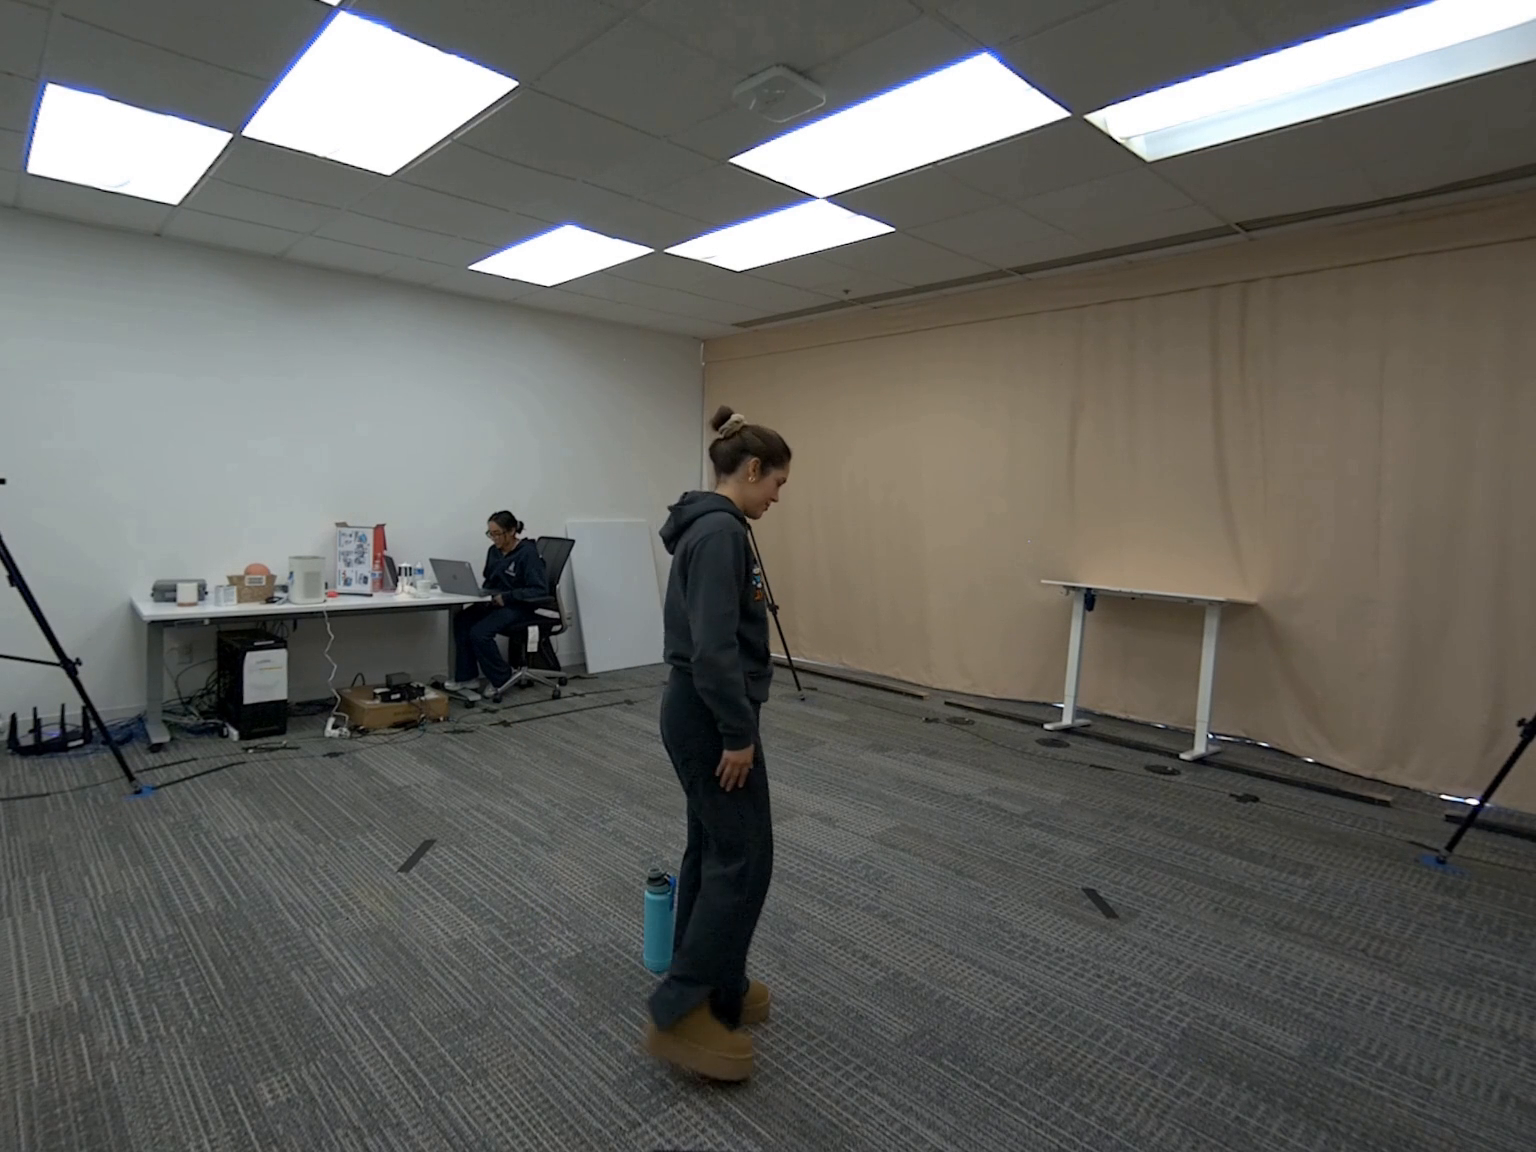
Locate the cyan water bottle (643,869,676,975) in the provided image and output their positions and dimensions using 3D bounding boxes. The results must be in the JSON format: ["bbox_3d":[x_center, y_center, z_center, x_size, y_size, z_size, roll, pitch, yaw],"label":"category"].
[{"bbox_3d":[-0.322,1.021,2.505,0.092,0.283,0.092,4,3,-2],"label":"cyan water bottle"}]
